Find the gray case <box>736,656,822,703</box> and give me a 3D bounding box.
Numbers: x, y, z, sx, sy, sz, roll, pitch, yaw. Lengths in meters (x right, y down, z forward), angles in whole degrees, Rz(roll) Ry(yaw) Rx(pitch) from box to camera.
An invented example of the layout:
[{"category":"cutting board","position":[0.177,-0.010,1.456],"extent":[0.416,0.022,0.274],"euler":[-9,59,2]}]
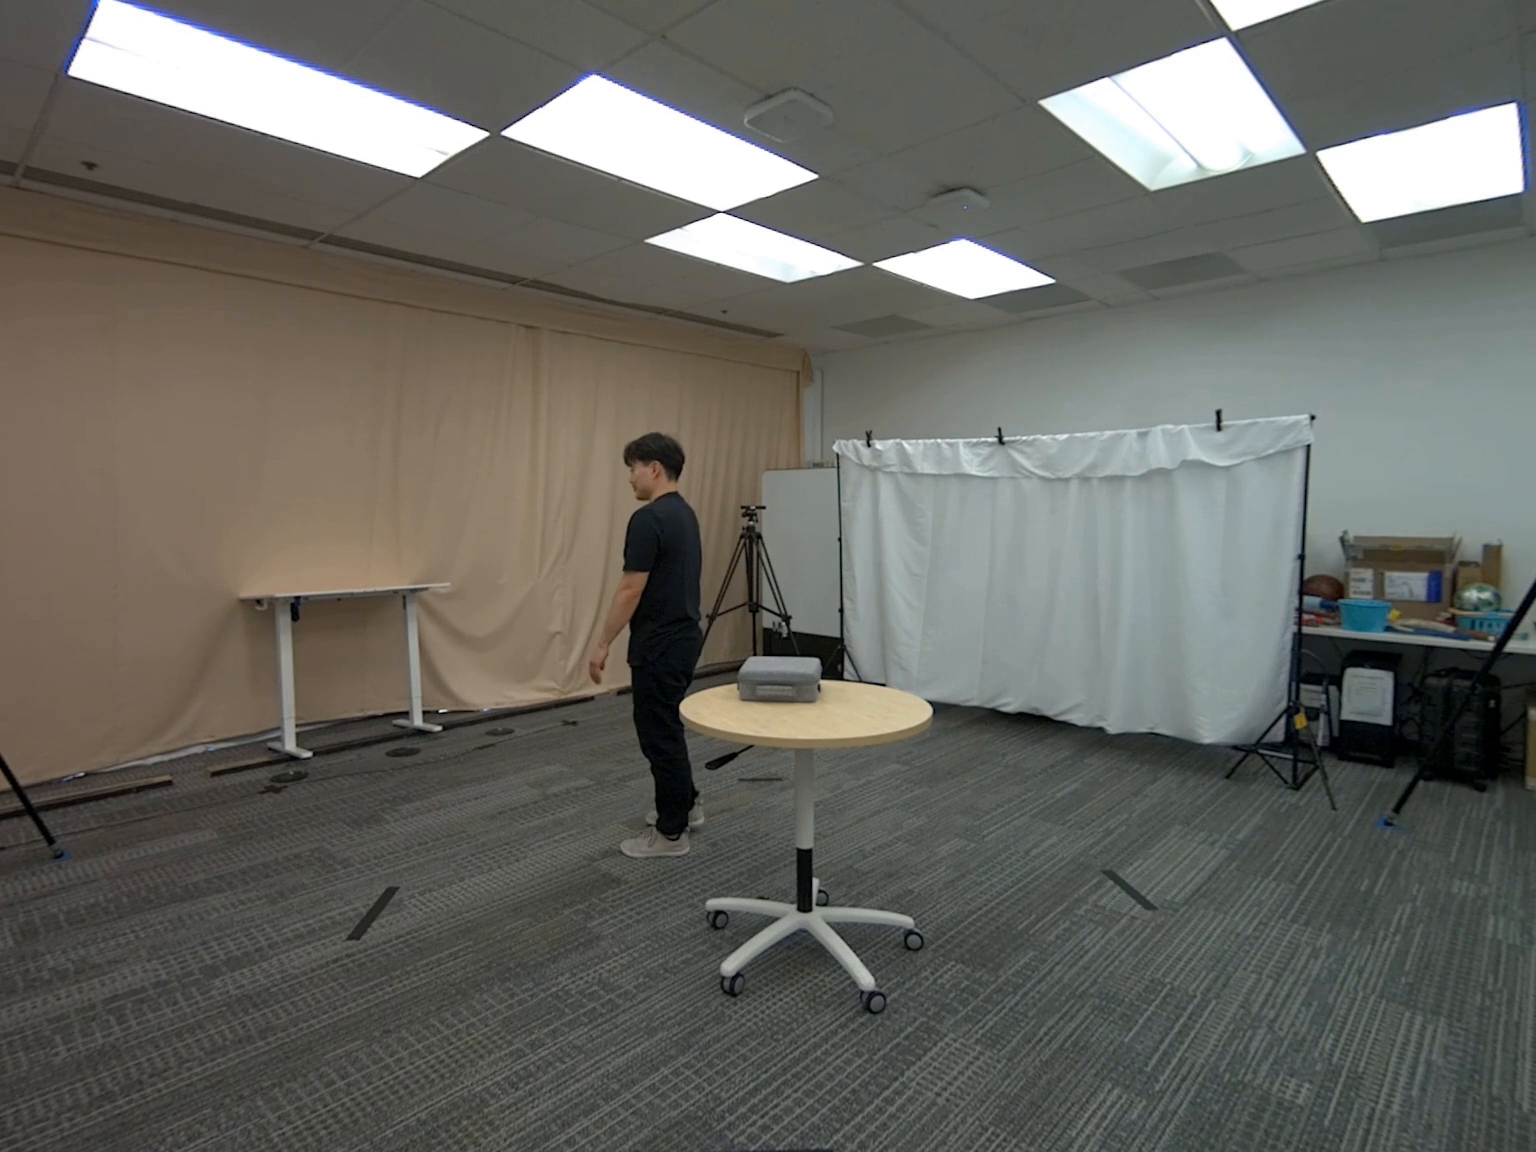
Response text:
[{"category":"gray case","position":[0.042,0.331,2.730],"extent":[0.260,0.104,0.259],"euler":[1,6,9]}]
